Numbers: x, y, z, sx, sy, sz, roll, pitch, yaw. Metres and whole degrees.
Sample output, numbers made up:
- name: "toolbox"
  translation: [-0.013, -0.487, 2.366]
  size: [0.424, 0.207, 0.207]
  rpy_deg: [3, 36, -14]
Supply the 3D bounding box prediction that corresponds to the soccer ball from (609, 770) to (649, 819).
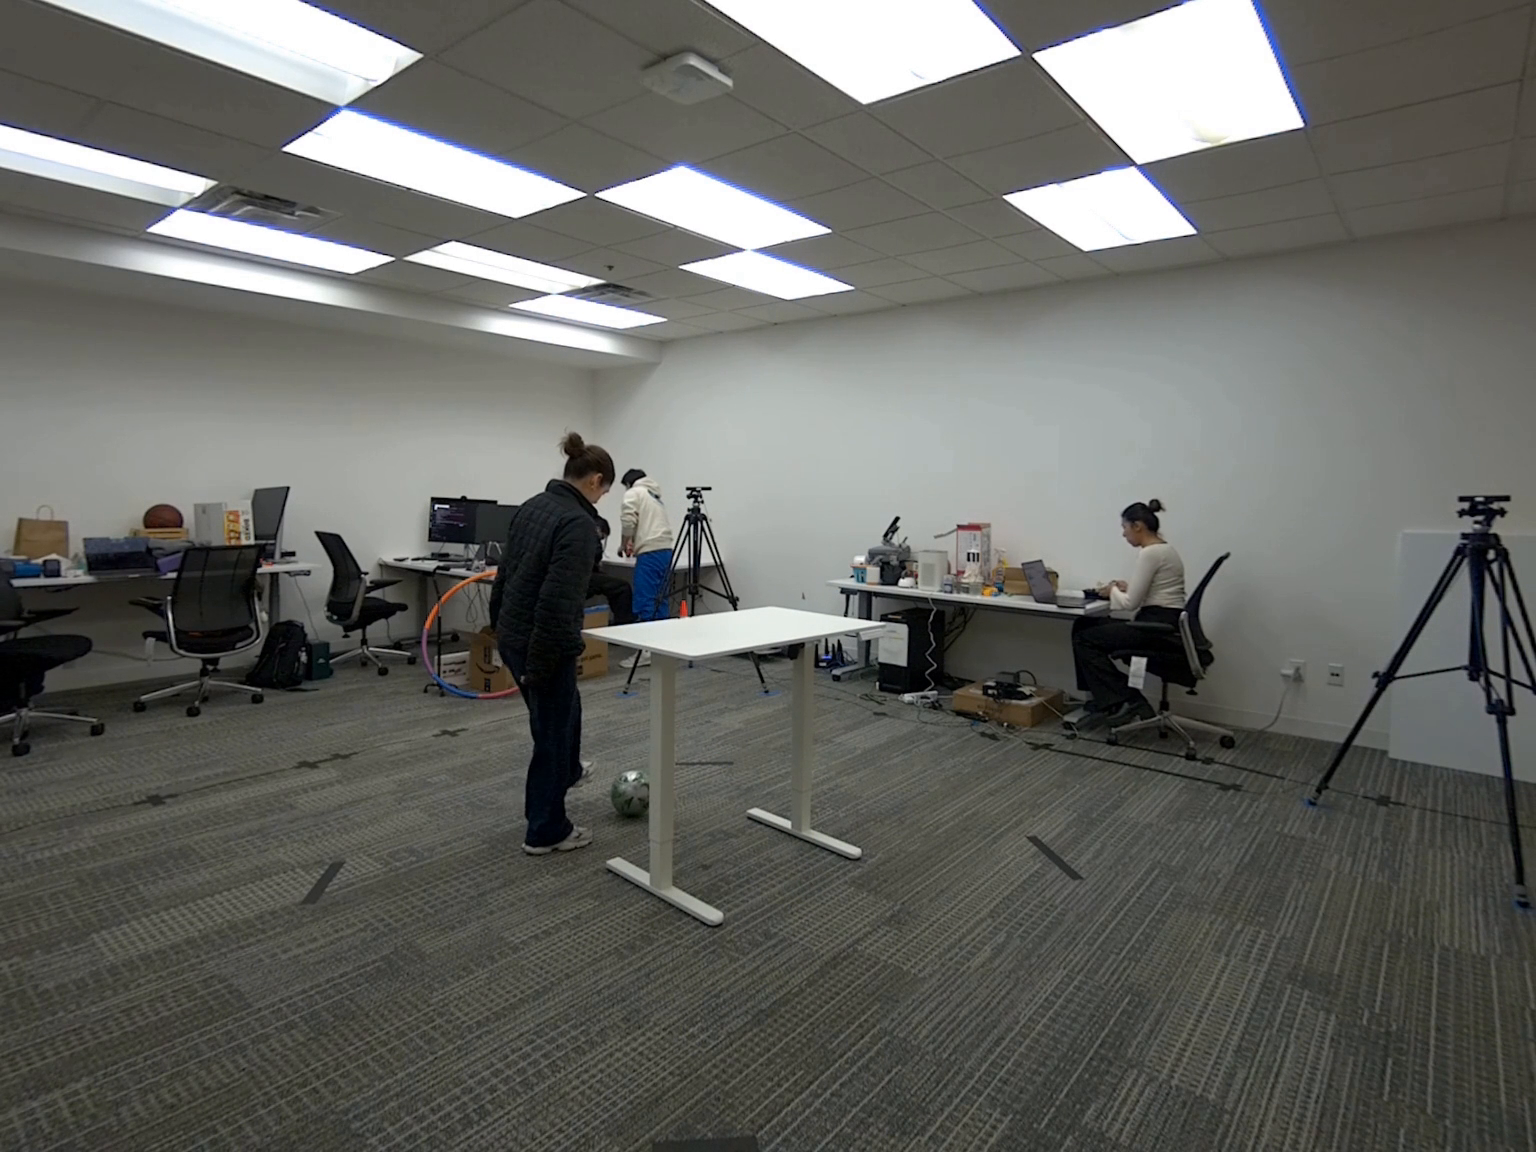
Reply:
- name: "soccer ball"
  translation: [-0.587, 0.919, 3.606]
  size: [0.187, 0.187, 0.188]
  rpy_deg: [1, 4, -2]
